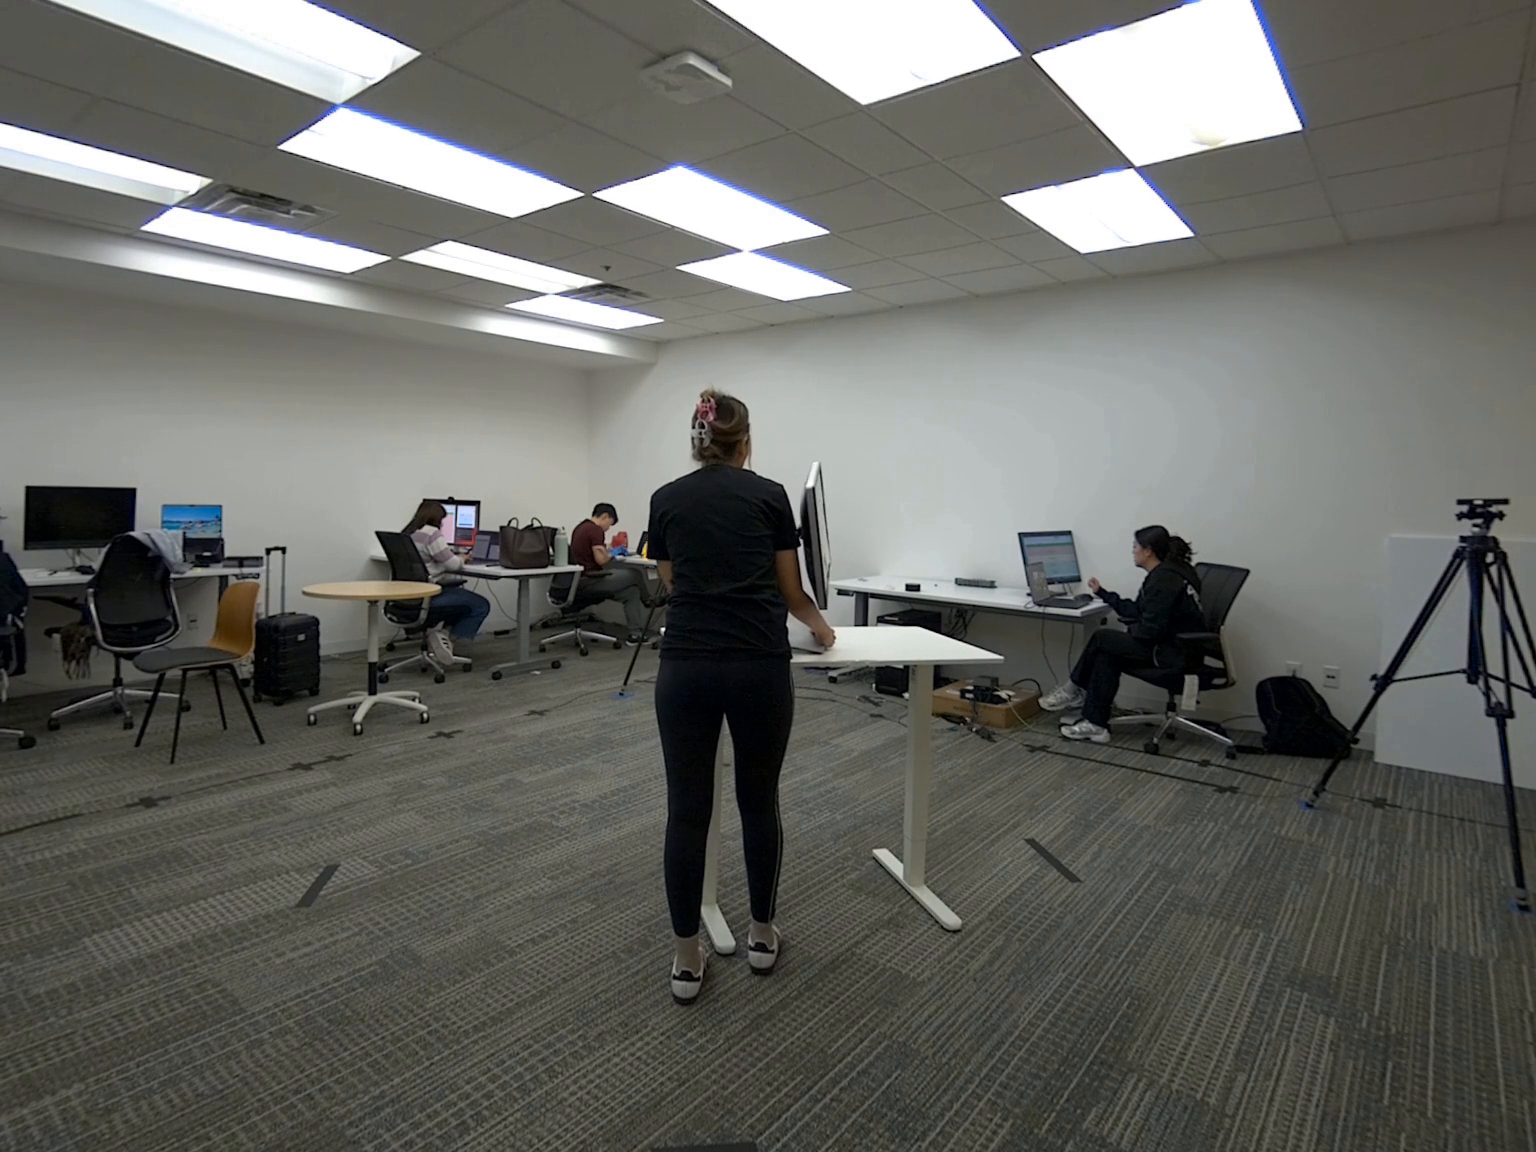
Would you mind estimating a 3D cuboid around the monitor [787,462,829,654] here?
[{"bbox_3d":[0.114,-0.059,2.712,0.188,0.516,0.542,5,14,4],"label":"monitor"}]
